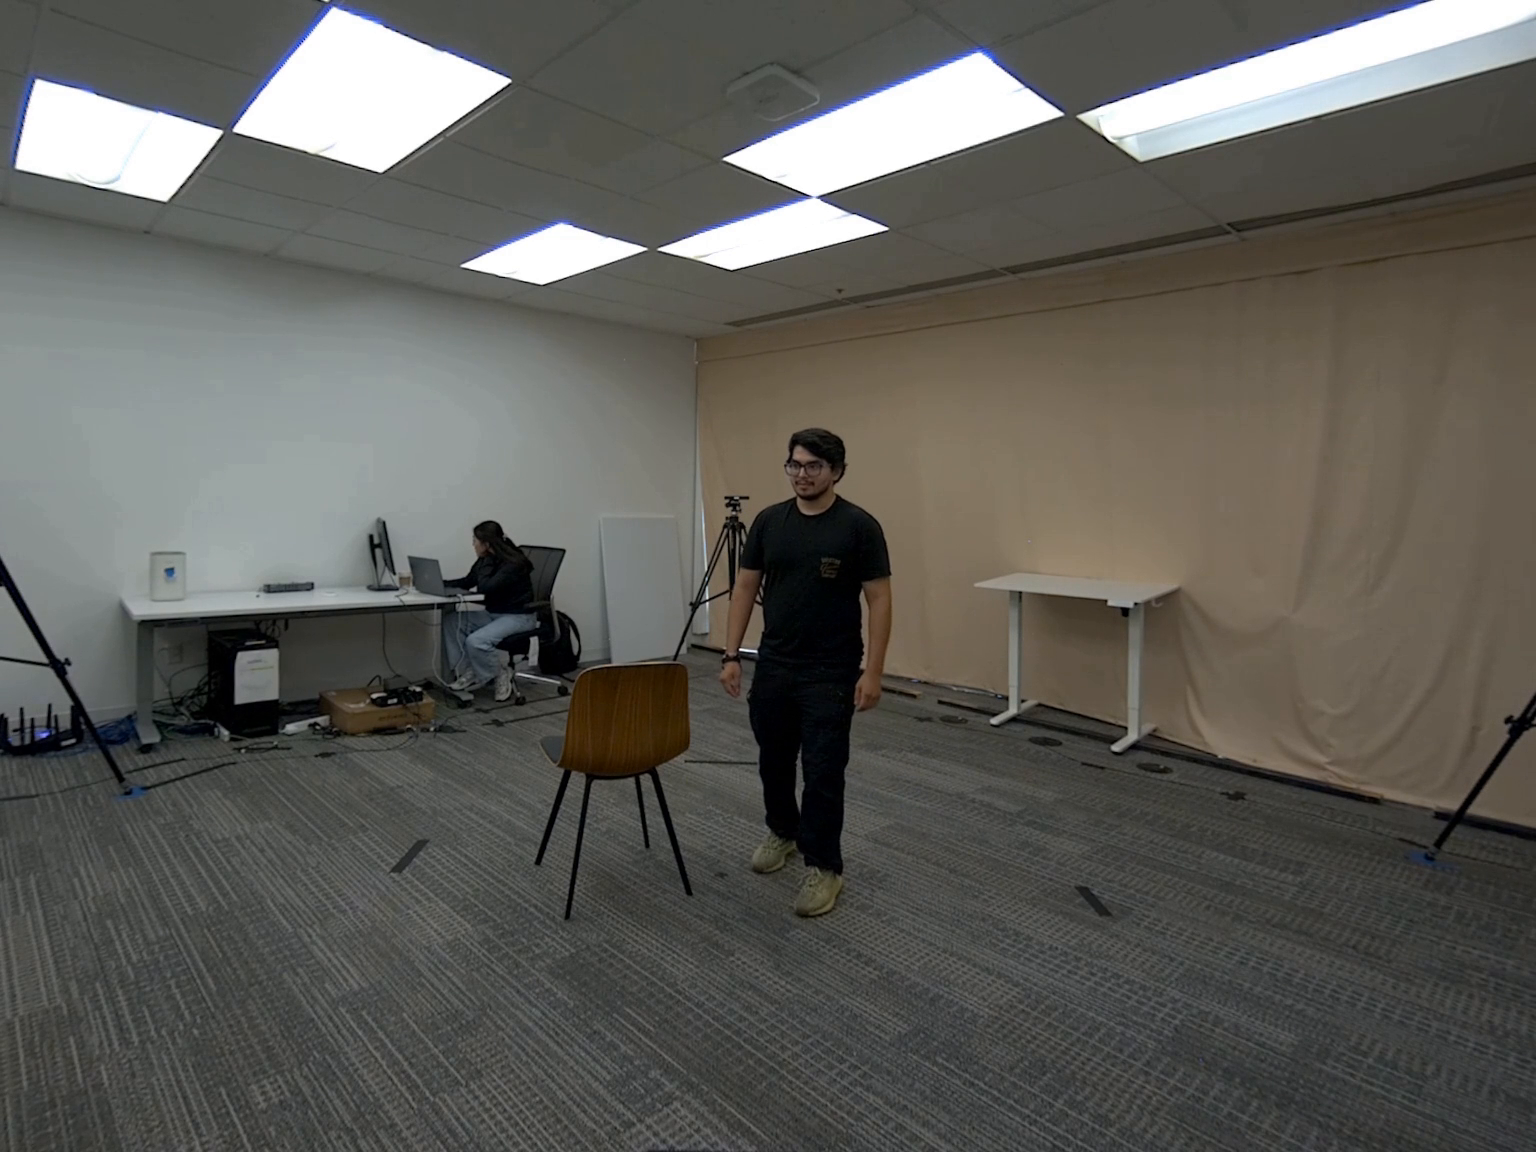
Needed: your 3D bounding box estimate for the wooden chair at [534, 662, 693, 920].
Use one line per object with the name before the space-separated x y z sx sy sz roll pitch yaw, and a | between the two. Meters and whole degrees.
wooden chair | -0.562 0.672 3.019 0.469 0.873 0.536 0 8 -27
